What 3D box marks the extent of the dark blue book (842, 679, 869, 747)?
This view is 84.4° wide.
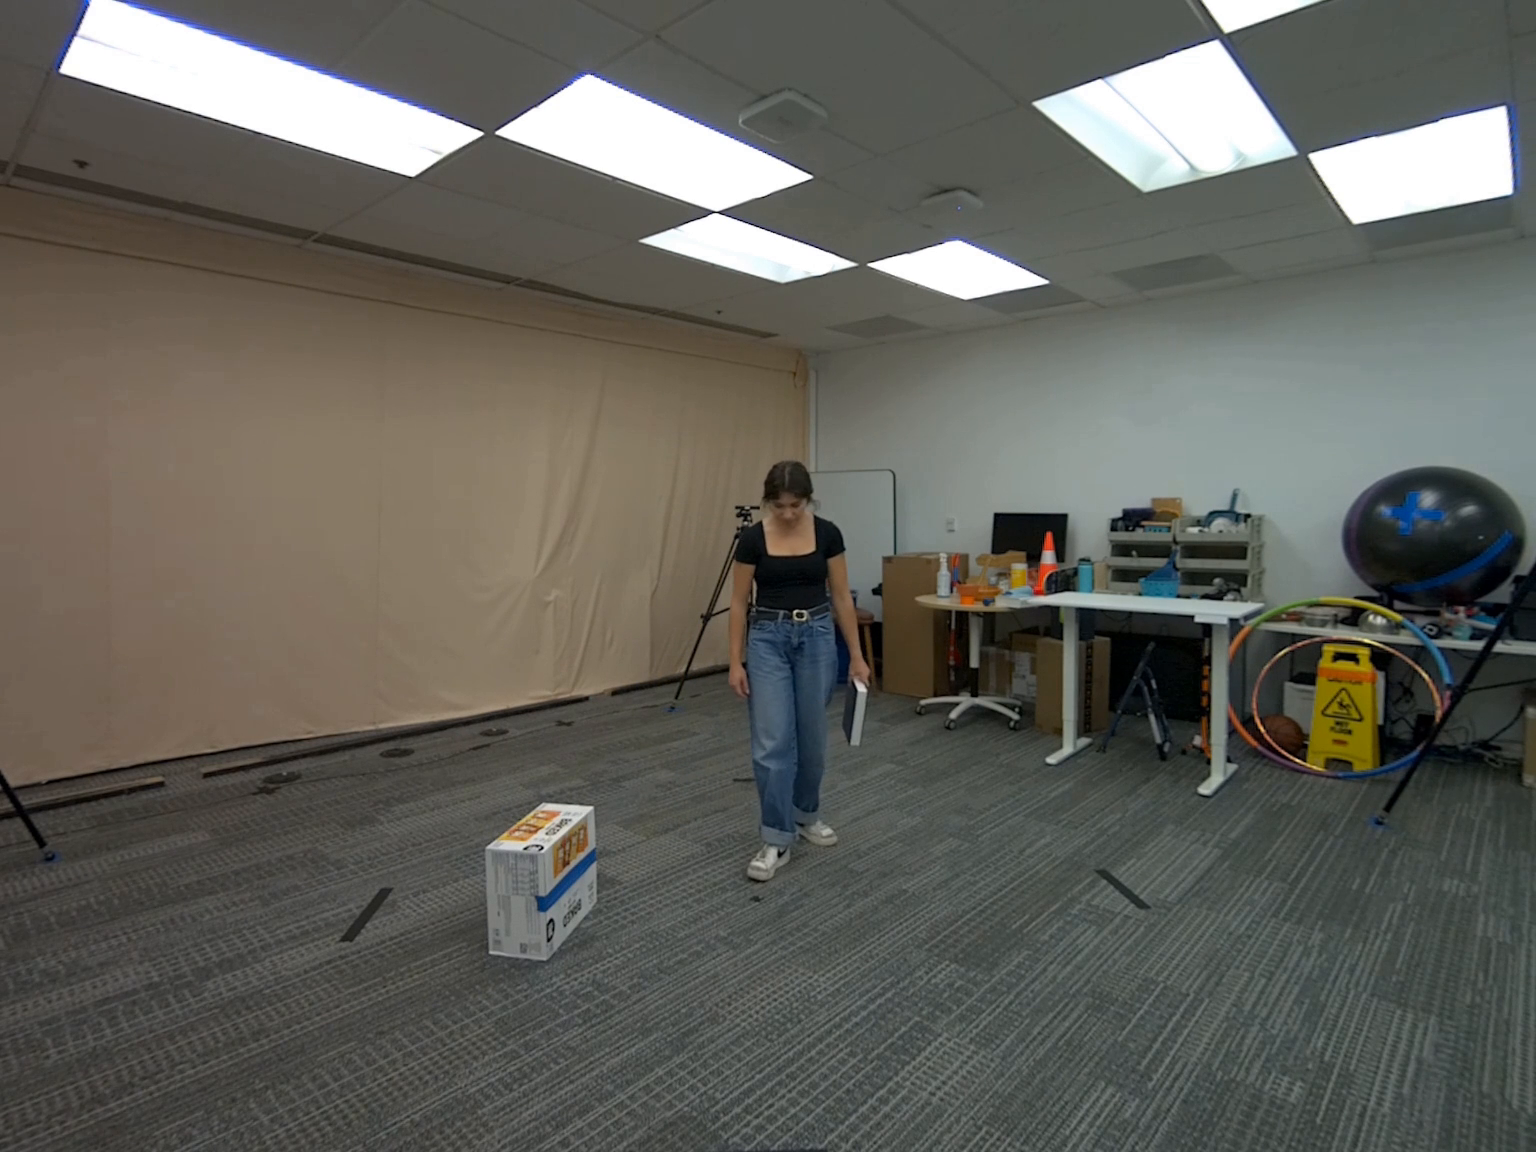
[{"bbox_3d":[0.343,0.526,3.311,0.045,0.243,0.166,3,16,-7],"label":"dark blue book"}]
